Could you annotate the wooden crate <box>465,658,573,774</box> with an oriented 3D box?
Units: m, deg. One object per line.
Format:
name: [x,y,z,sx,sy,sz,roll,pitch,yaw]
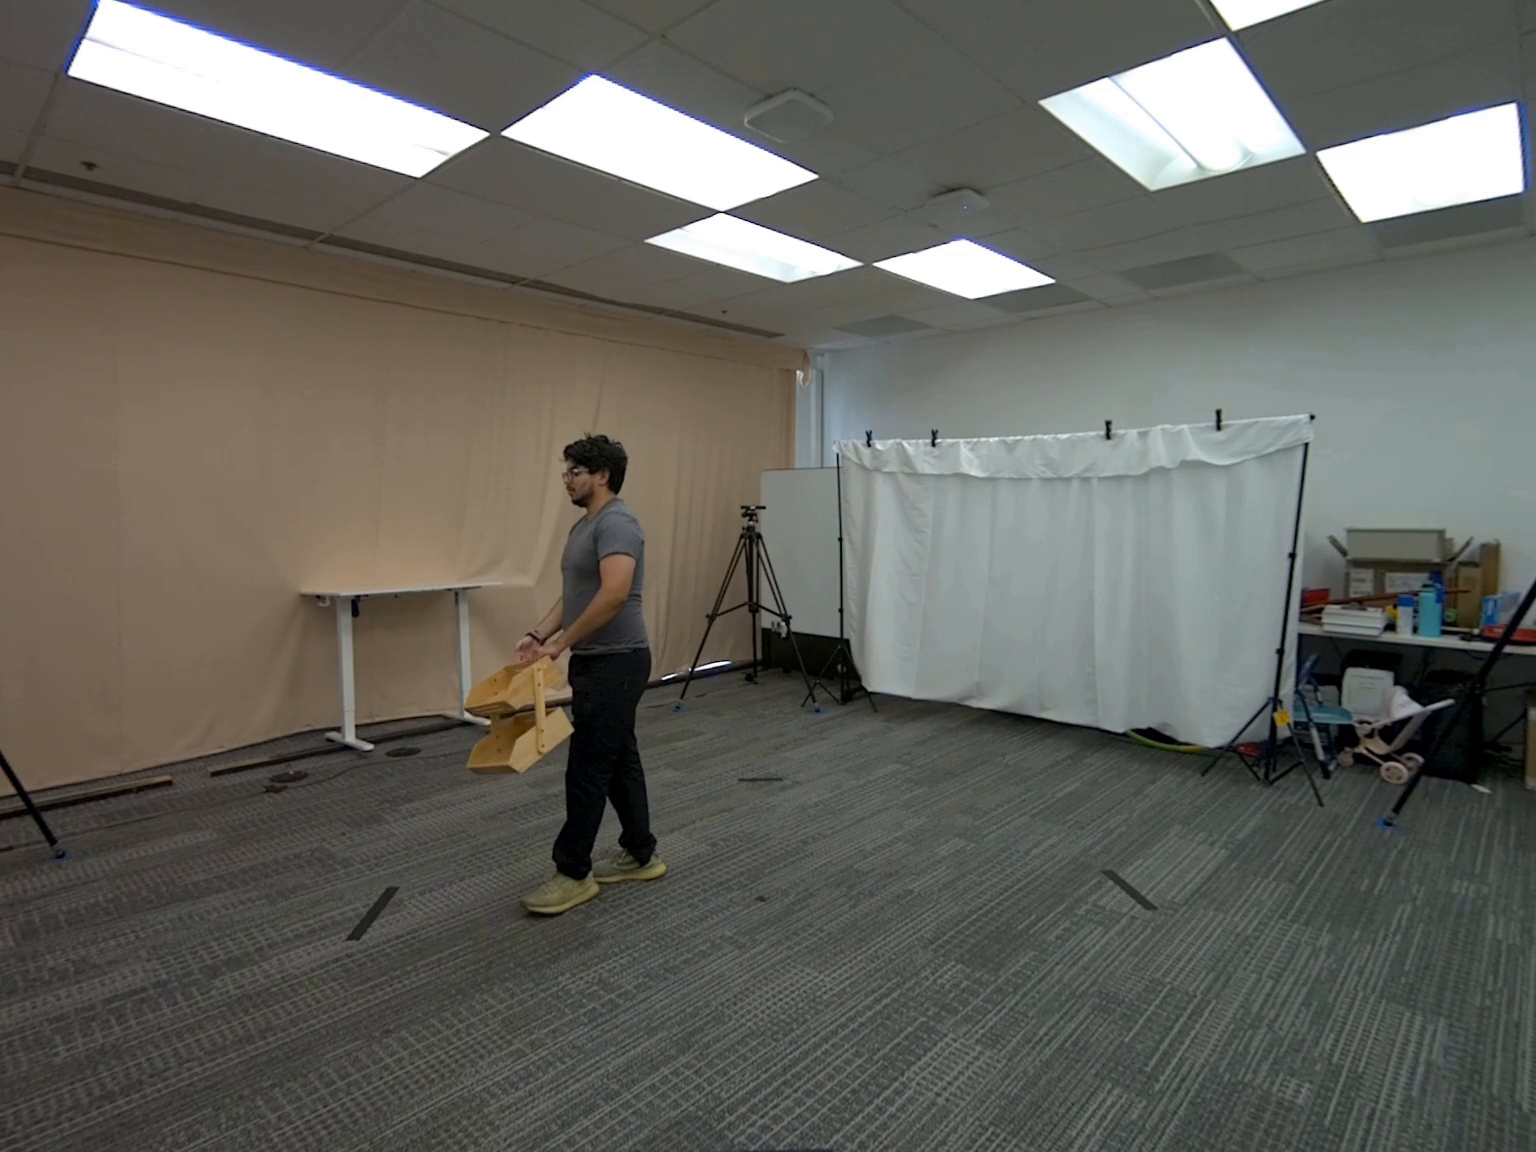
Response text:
wooden crate: [-0.847,0.467,2.767,0.332,0.271,0.297,-17,14,45]
